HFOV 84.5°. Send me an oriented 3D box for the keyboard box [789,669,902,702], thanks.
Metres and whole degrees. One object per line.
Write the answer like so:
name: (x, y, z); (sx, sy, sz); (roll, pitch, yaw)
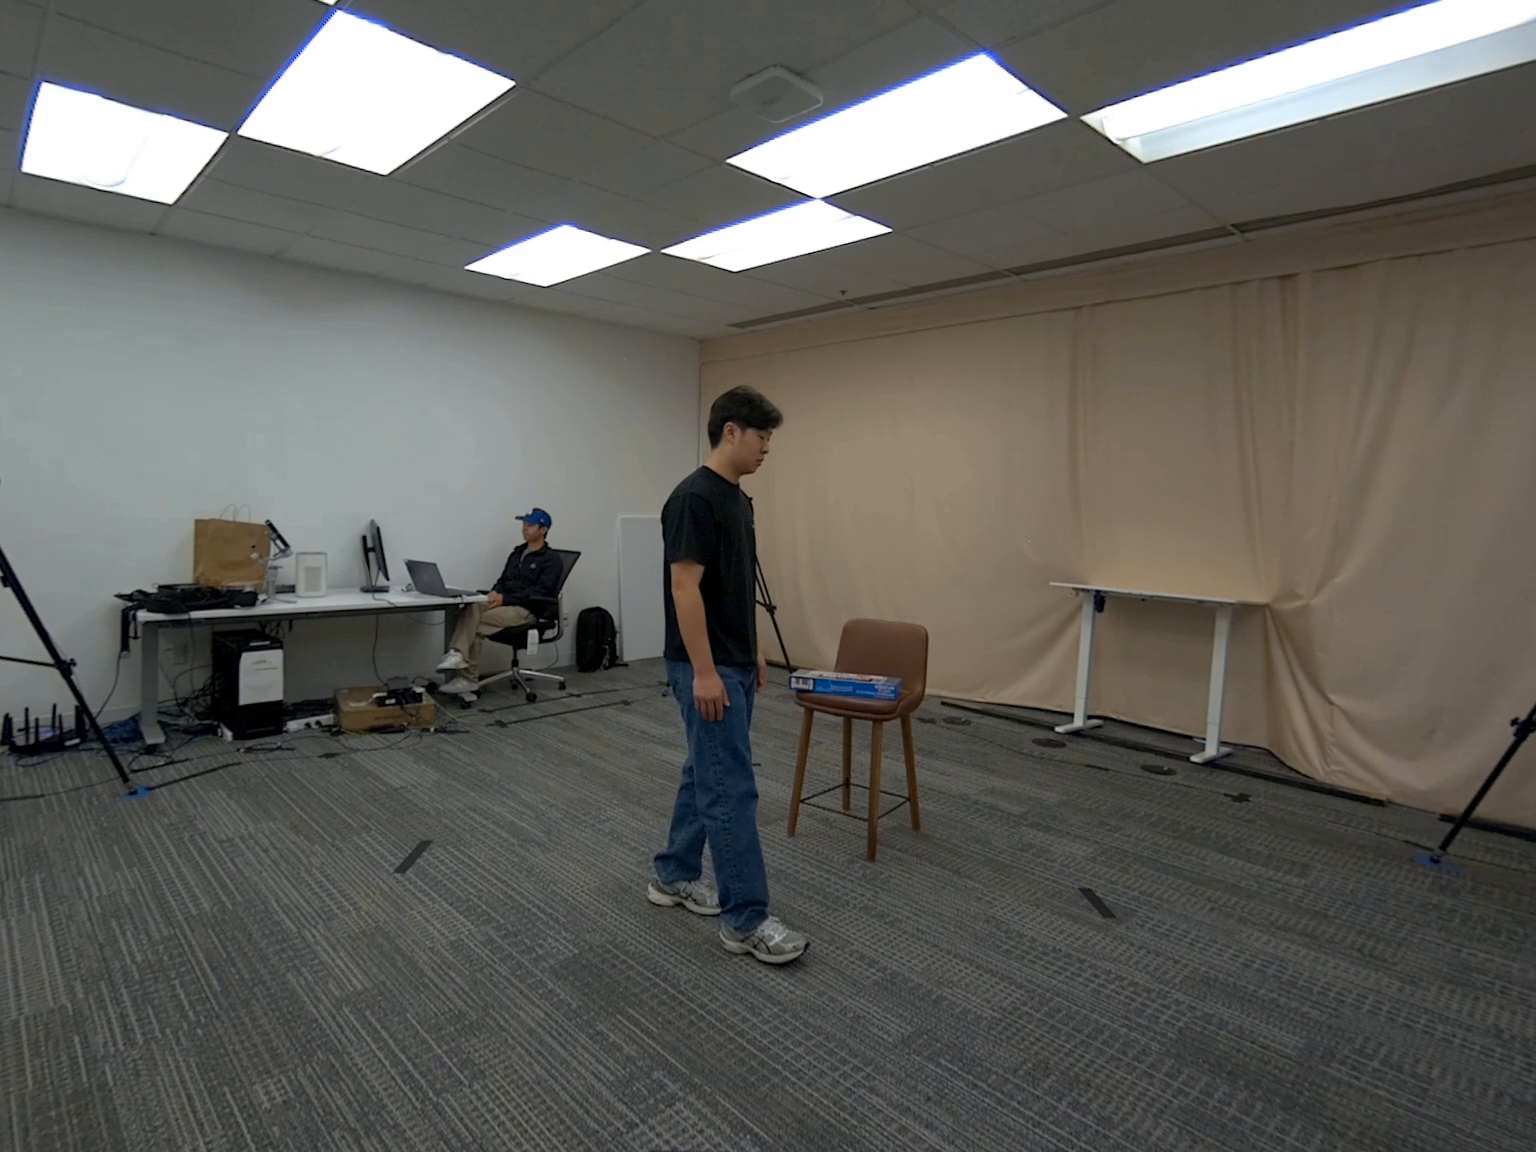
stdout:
keyboard box: (0.310, 0.441, 3.465); (0.444, 0.059, 0.173); (3, 3, 20)
